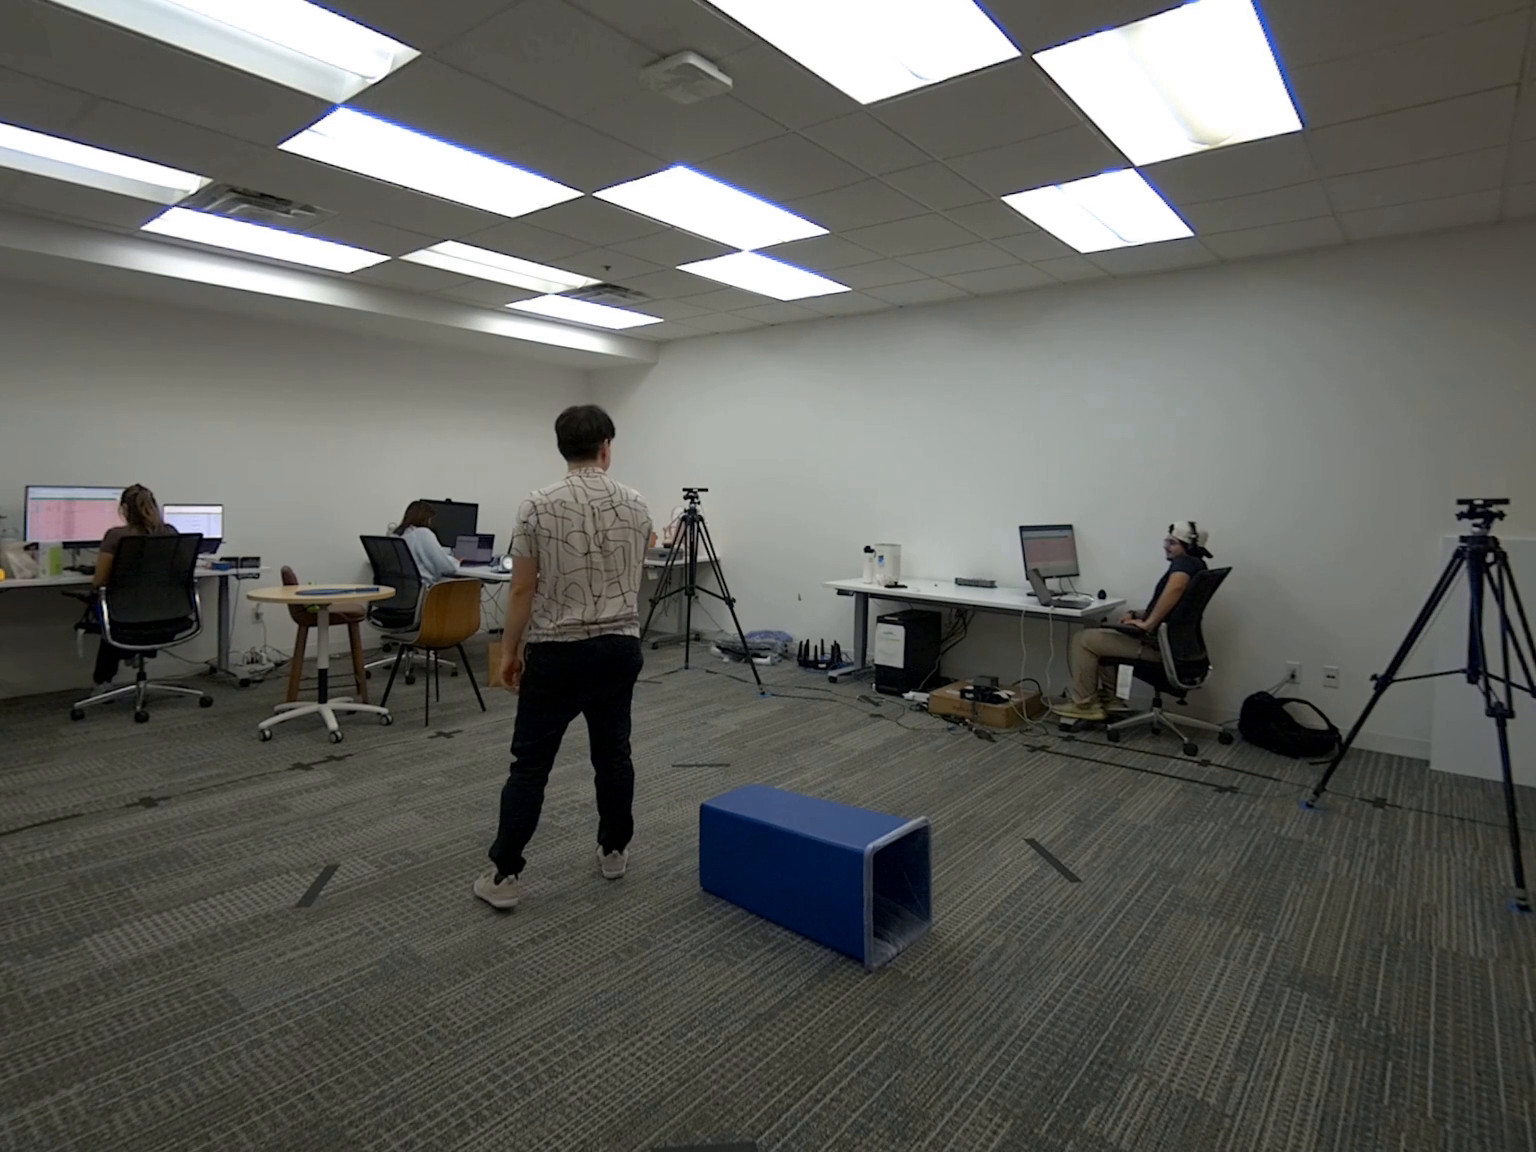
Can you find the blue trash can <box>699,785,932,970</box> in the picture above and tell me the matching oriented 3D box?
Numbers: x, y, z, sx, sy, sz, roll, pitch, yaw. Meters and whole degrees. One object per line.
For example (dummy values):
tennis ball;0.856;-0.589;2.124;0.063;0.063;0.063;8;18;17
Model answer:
blue trash can;0.126;0.932;2.818;0.737;0.377;0.363;4;5;41
